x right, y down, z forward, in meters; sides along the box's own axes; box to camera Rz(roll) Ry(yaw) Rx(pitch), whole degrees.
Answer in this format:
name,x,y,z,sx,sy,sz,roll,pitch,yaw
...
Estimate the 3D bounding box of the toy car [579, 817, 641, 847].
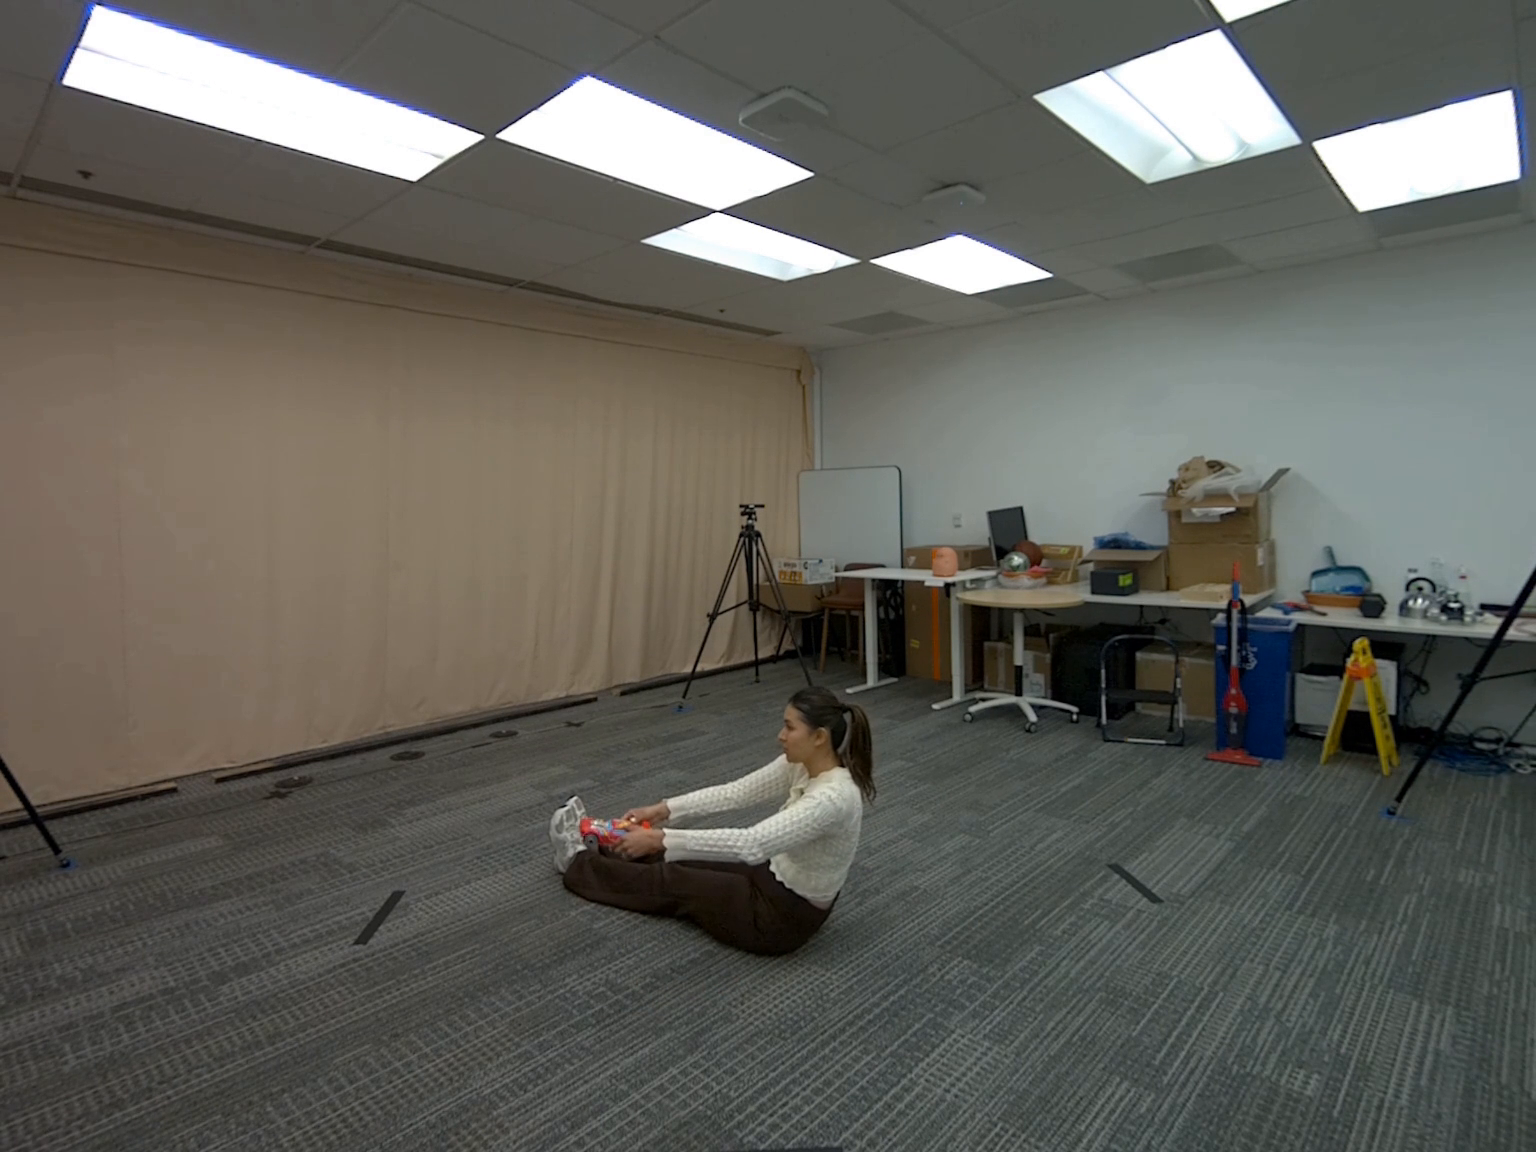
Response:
name,x,y,z,sx,sy,sz,roll,pitch,yaw
toy car,-0.423,0.773,2.492,0.251,0.083,0.132,4,4,-14
